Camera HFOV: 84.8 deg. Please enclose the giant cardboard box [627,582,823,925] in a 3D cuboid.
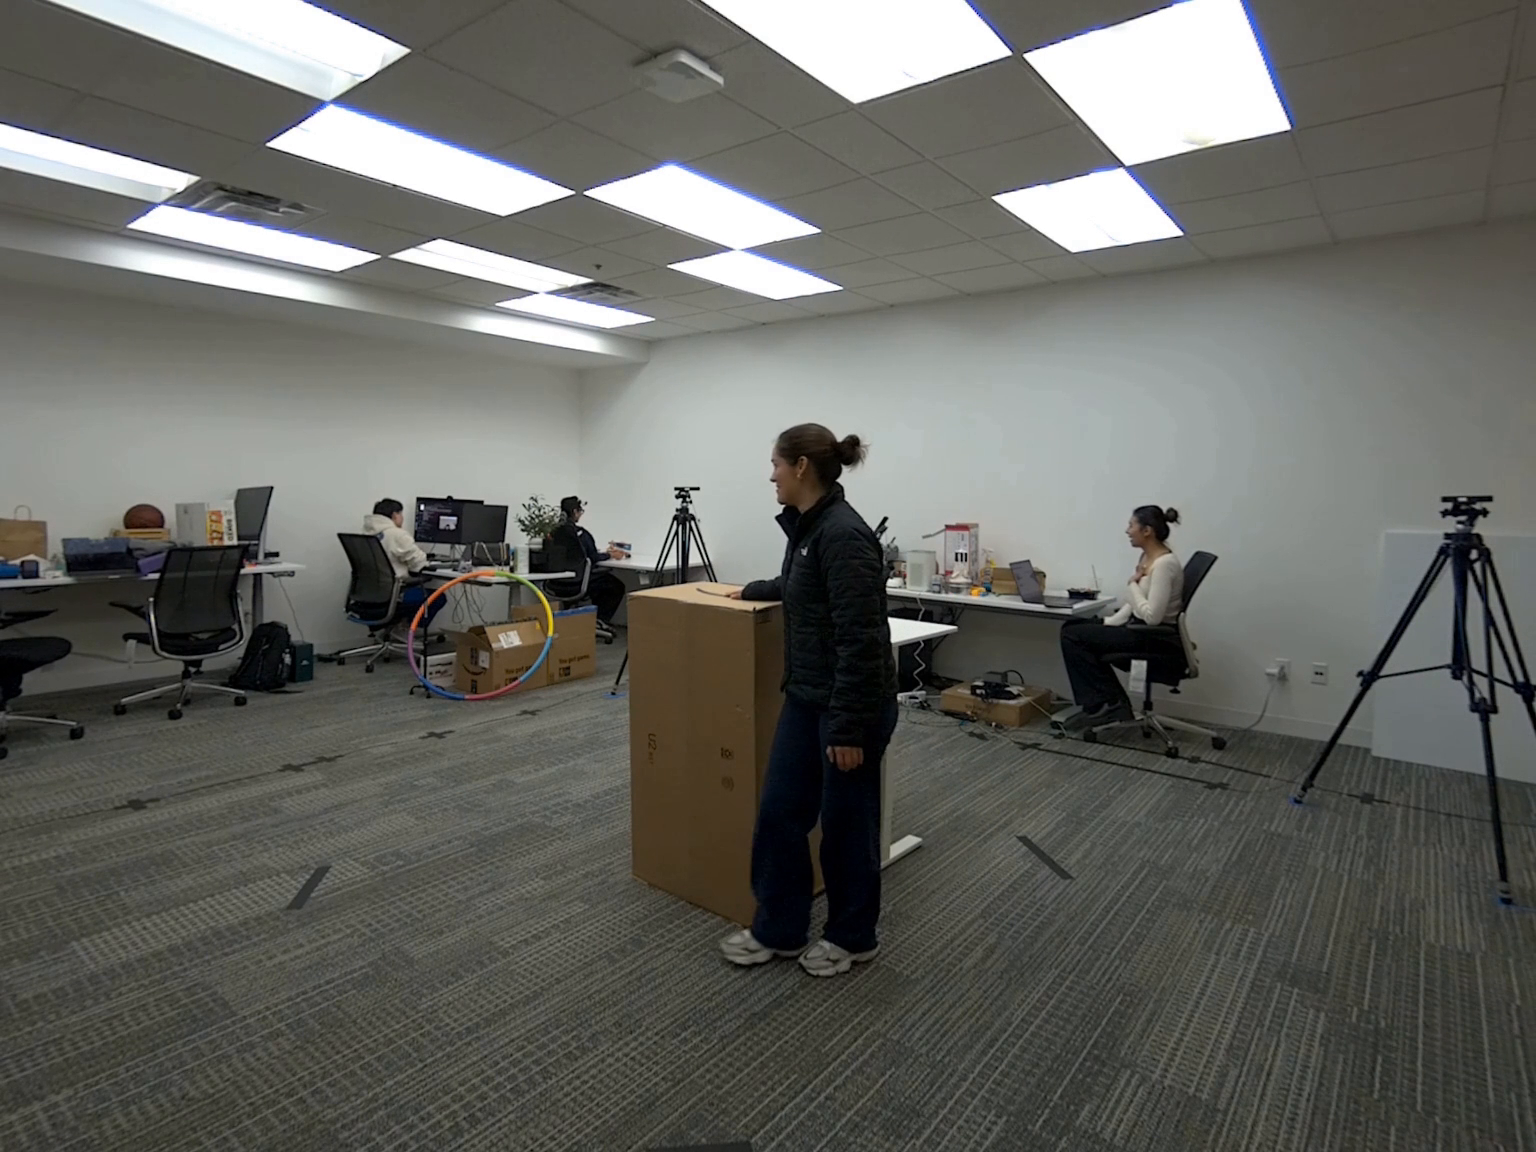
[{"bbox_3d":[-0.127,0.565,2.981,0.603,1.023,0.434,4,5,41],"label":"giant cardboard box"}]
